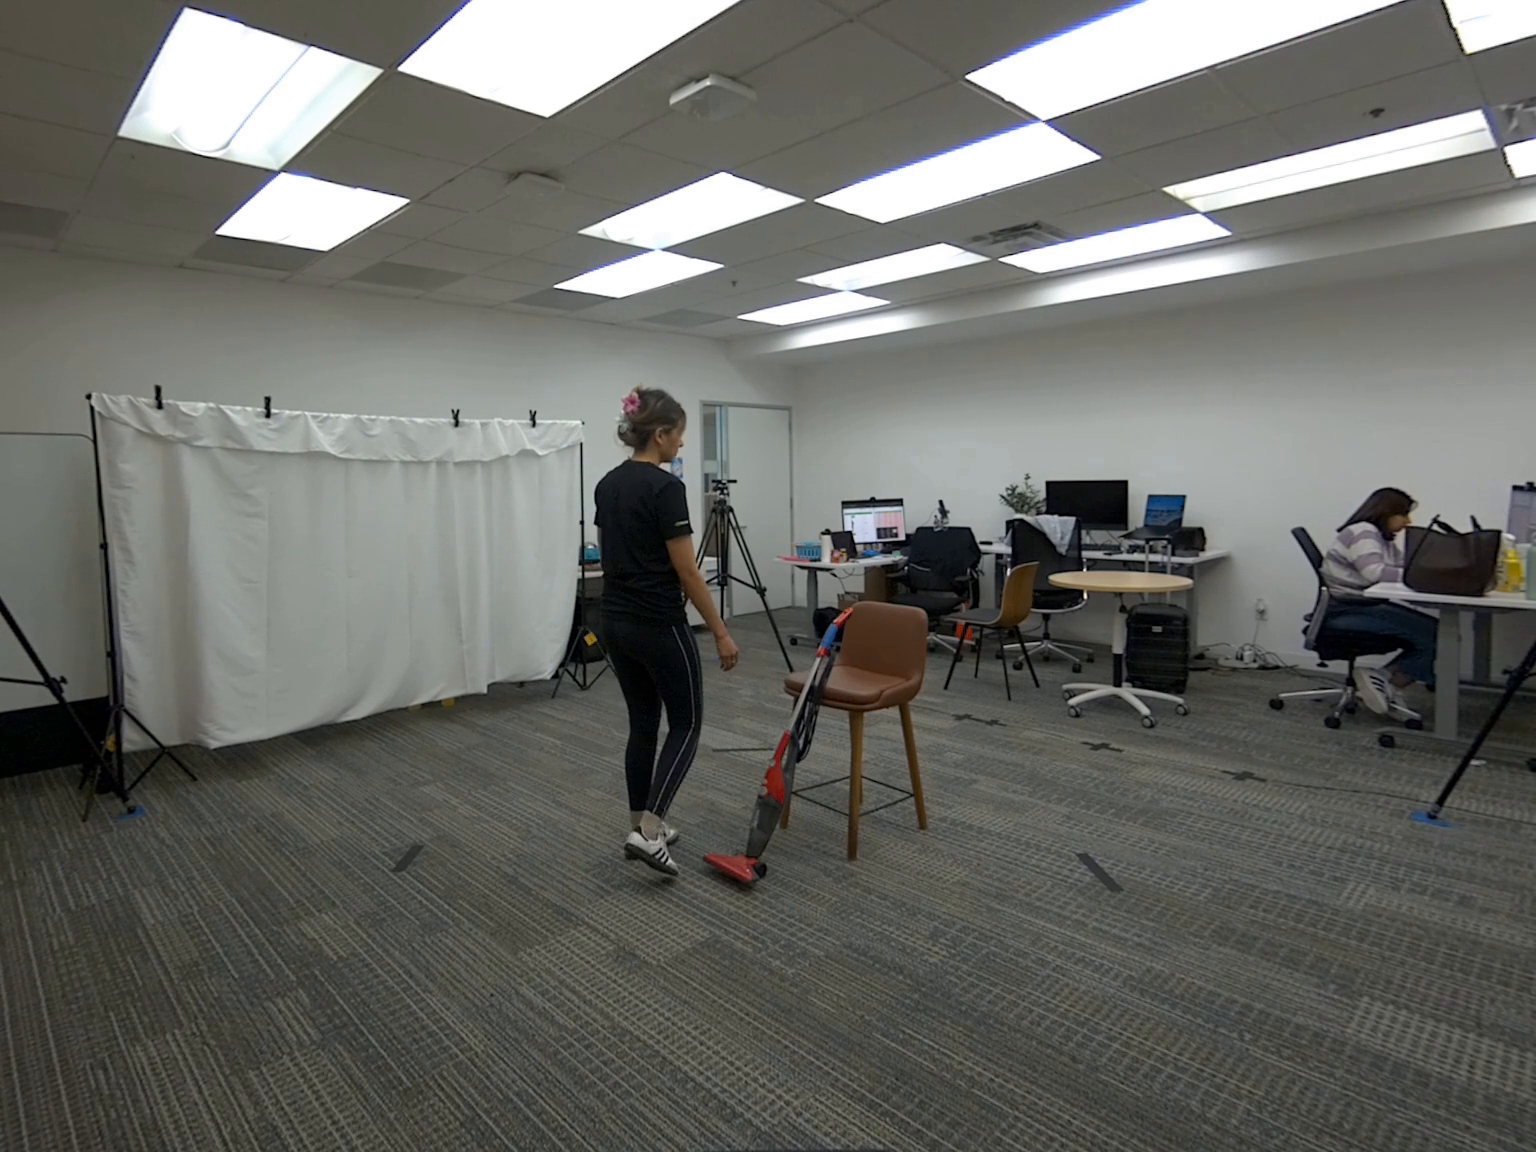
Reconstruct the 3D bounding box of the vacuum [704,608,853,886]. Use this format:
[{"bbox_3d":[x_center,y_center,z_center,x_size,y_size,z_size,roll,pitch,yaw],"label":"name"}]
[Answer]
[{"bbox_3d":[0.107,0.592,3.166,0.260,1.056,0.138,6,-27,46],"label":"vacuum"}]
